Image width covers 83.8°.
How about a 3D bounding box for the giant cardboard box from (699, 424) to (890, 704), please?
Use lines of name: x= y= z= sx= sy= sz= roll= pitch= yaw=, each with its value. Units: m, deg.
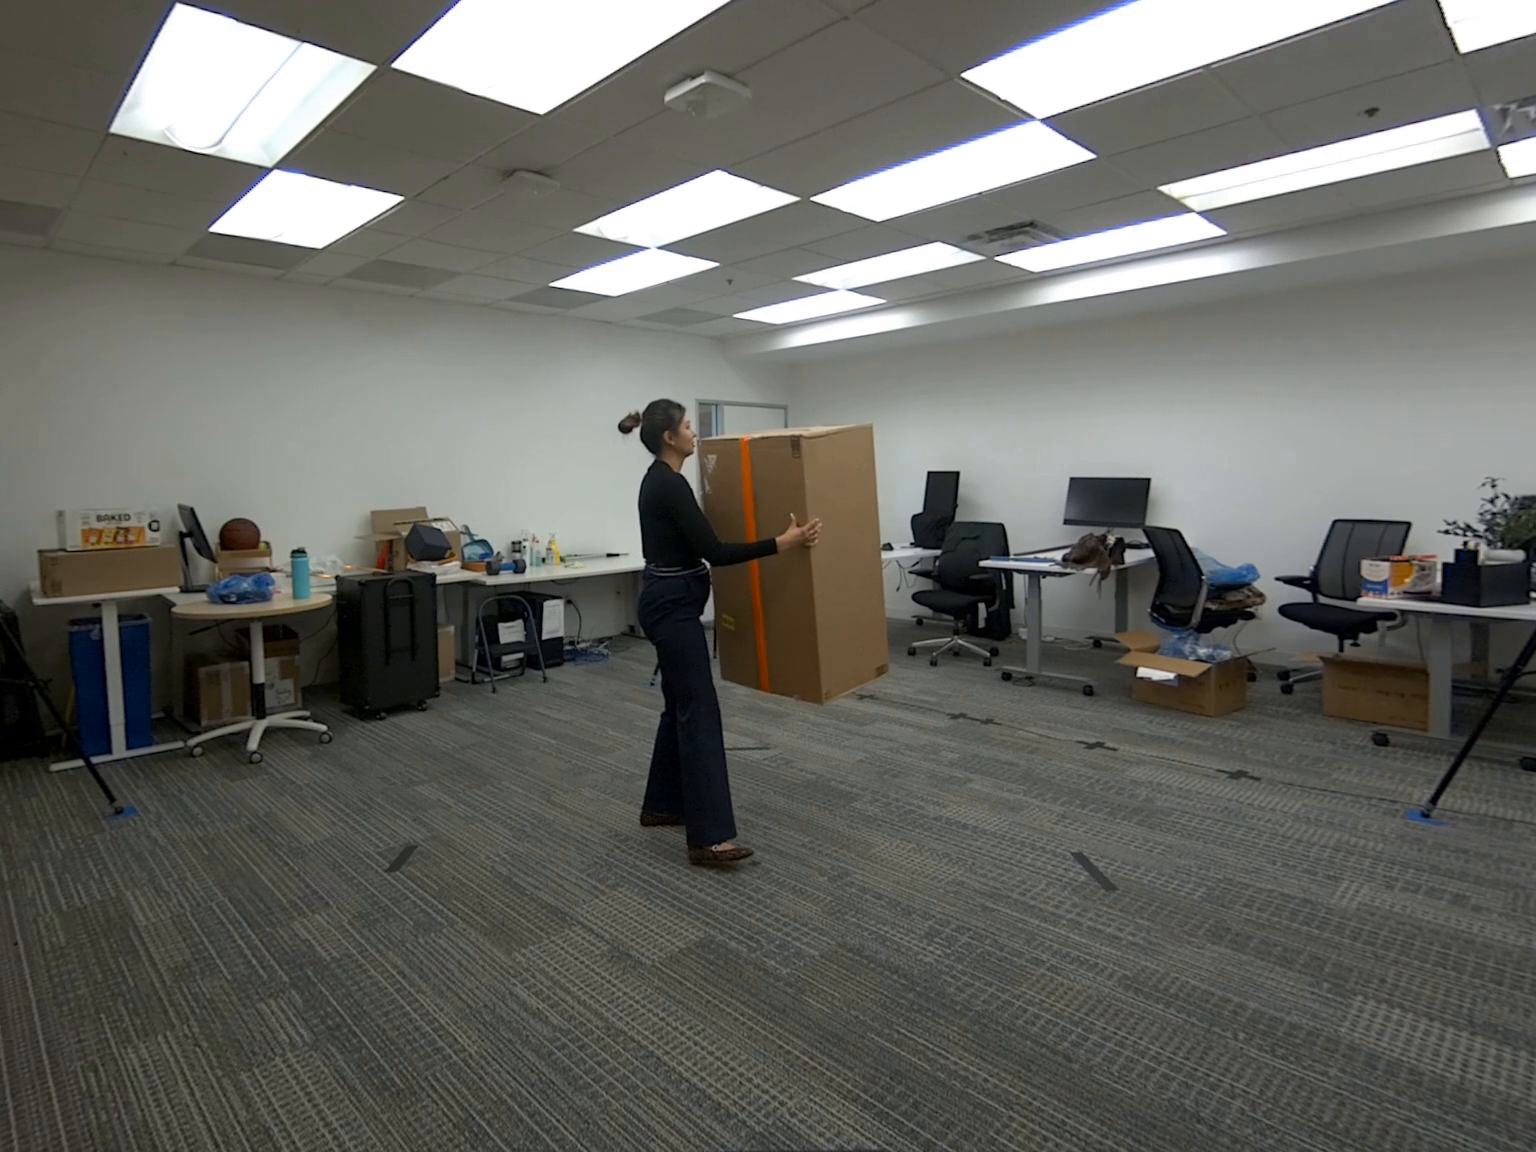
giant cardboard box: x=0.107 y=-0.072 z=3.474 sx=0.417 sy=1.016 sz=0.596 roll=-14 pitch=13 yaw=-42
